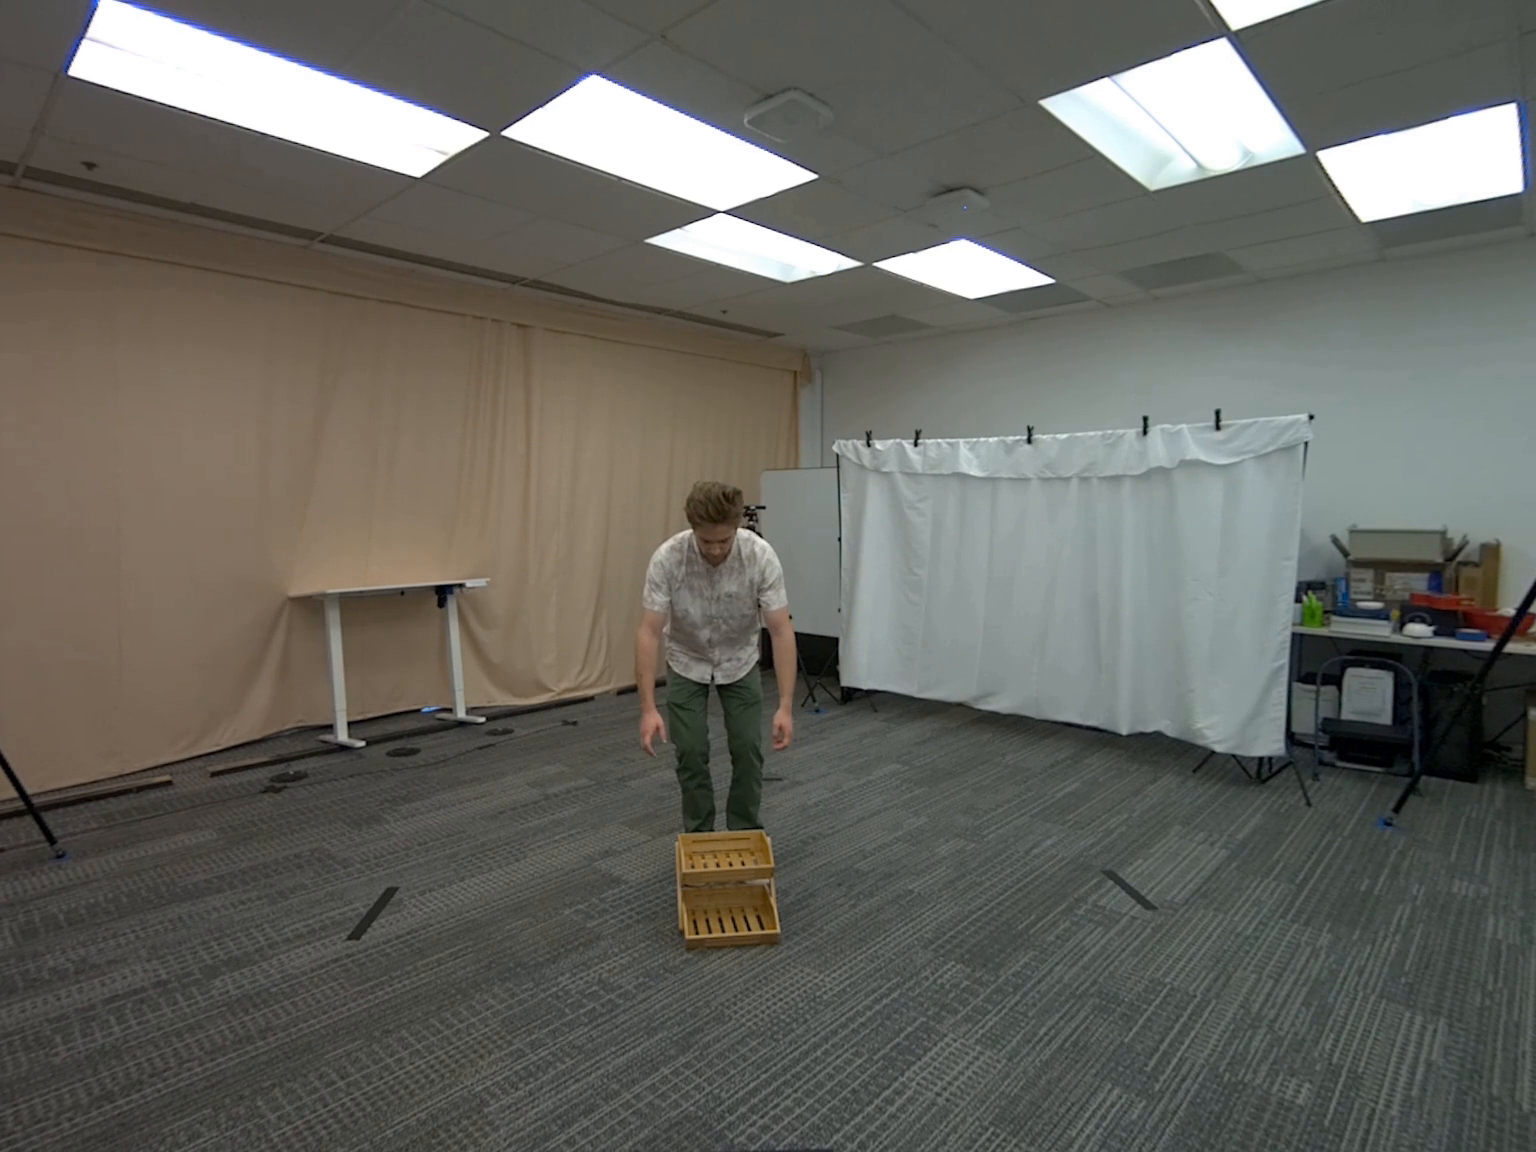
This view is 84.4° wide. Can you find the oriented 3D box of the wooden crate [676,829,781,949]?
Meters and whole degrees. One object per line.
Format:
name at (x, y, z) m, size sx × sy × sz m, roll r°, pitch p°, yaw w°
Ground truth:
wooden crate at (-0.135, 1.027, 2.784) m, size 0.322 × 0.272 × 0.305 m, roll -1°, pitch 4°, yaw -9°
